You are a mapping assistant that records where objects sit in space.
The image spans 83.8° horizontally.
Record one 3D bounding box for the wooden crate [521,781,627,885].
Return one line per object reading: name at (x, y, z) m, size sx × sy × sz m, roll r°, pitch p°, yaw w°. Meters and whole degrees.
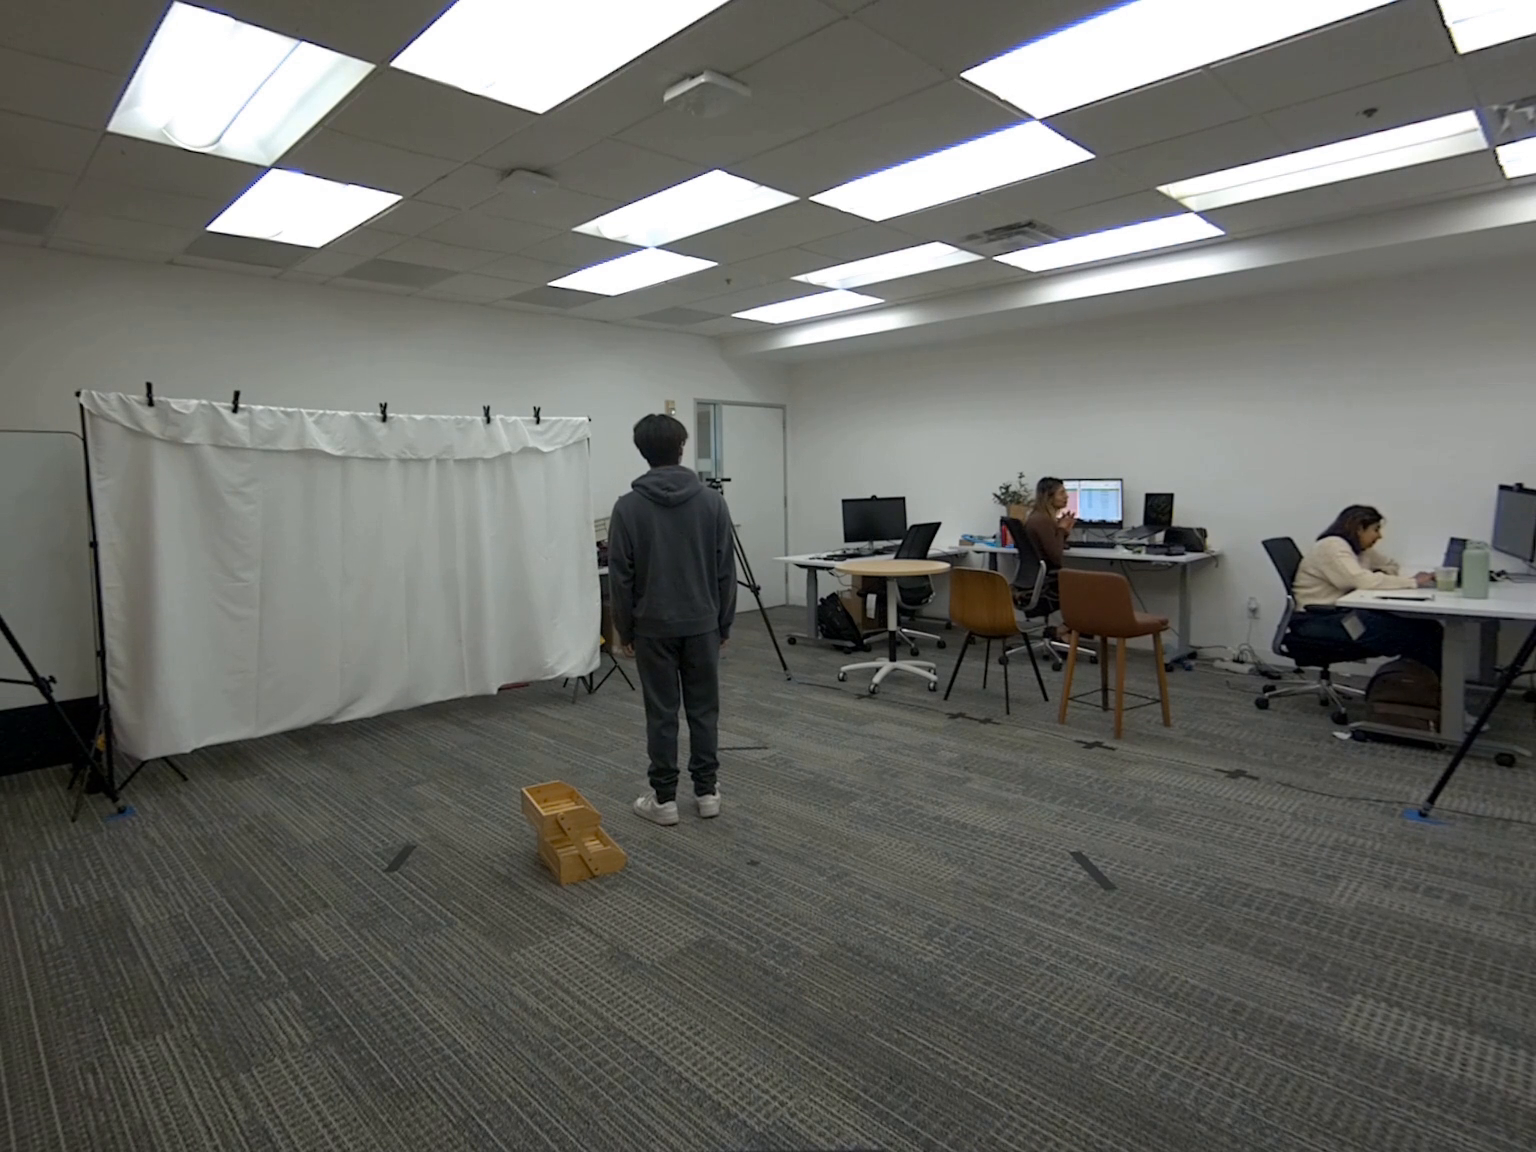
wooden crate at (-0.712, 0.916, 3.134) m, size 0.295 × 0.272 × 0.333 m, roll -5°, pitch 7°, yaw -29°
